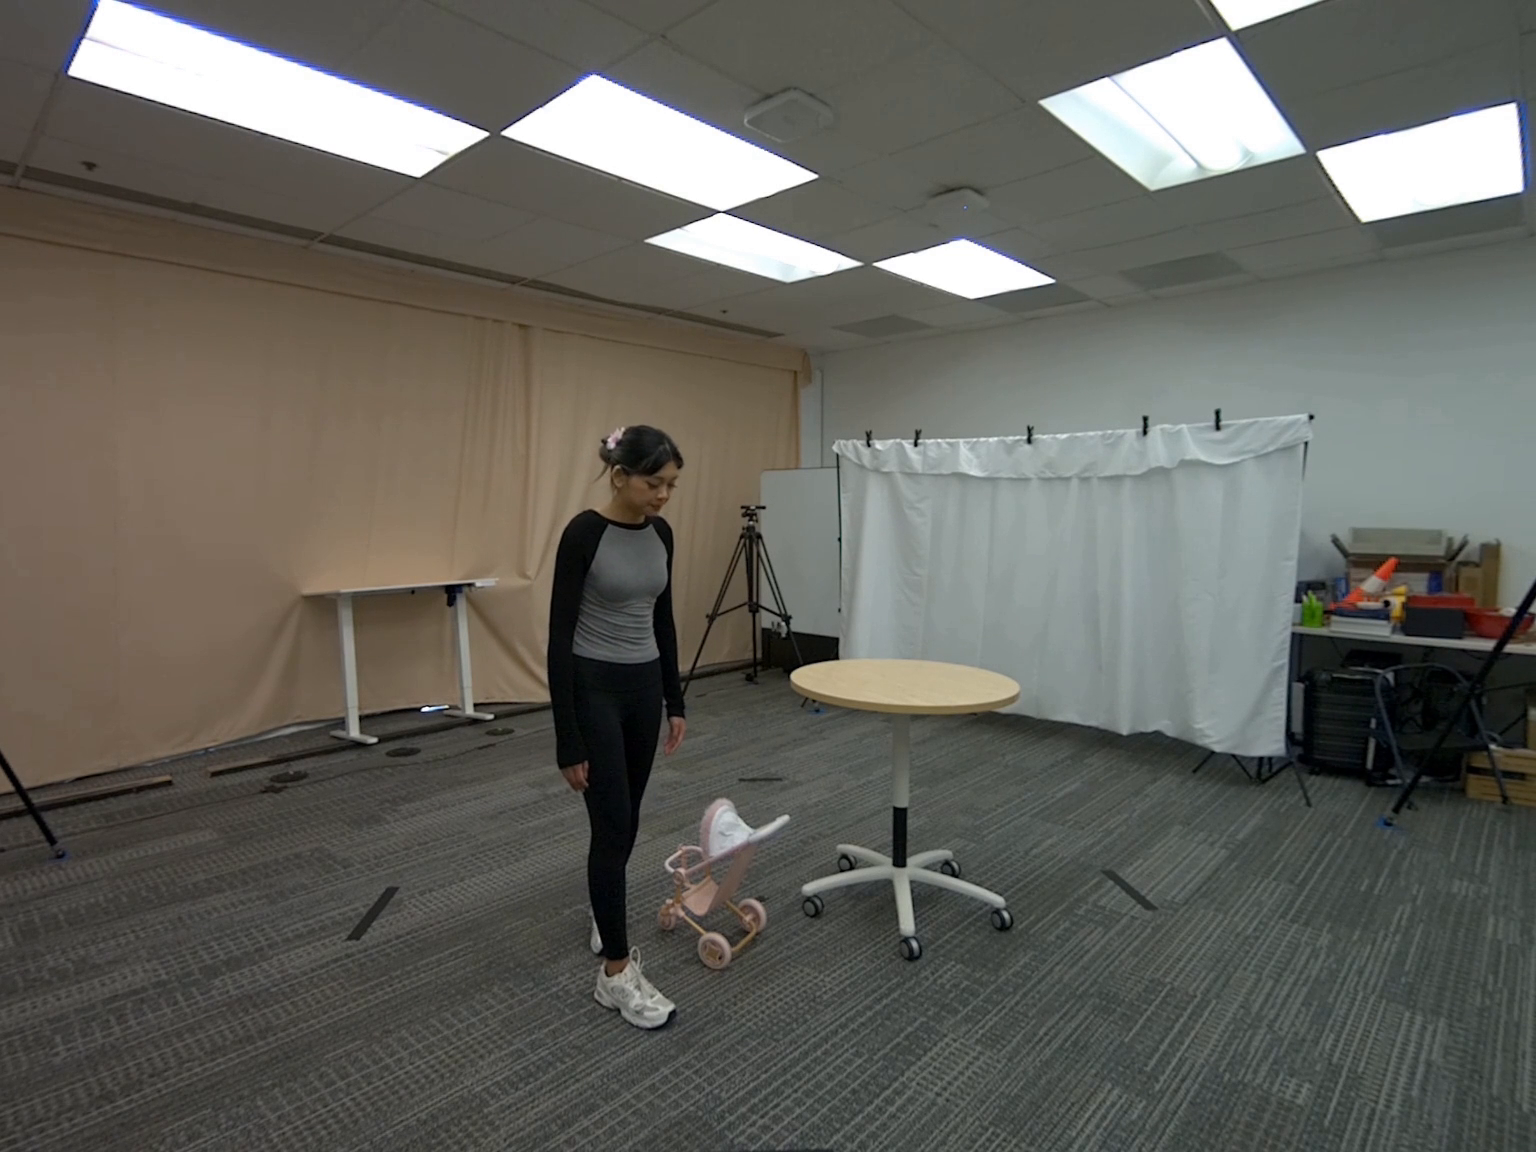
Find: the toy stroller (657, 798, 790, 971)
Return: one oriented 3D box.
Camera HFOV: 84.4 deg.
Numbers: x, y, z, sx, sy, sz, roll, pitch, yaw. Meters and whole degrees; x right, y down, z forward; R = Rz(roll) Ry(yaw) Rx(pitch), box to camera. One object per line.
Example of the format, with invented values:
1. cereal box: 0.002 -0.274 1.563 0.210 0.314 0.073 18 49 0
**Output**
1. toy stroller: -0.162 0.946 2.667 0.352 0.533 0.273 19 12 30
